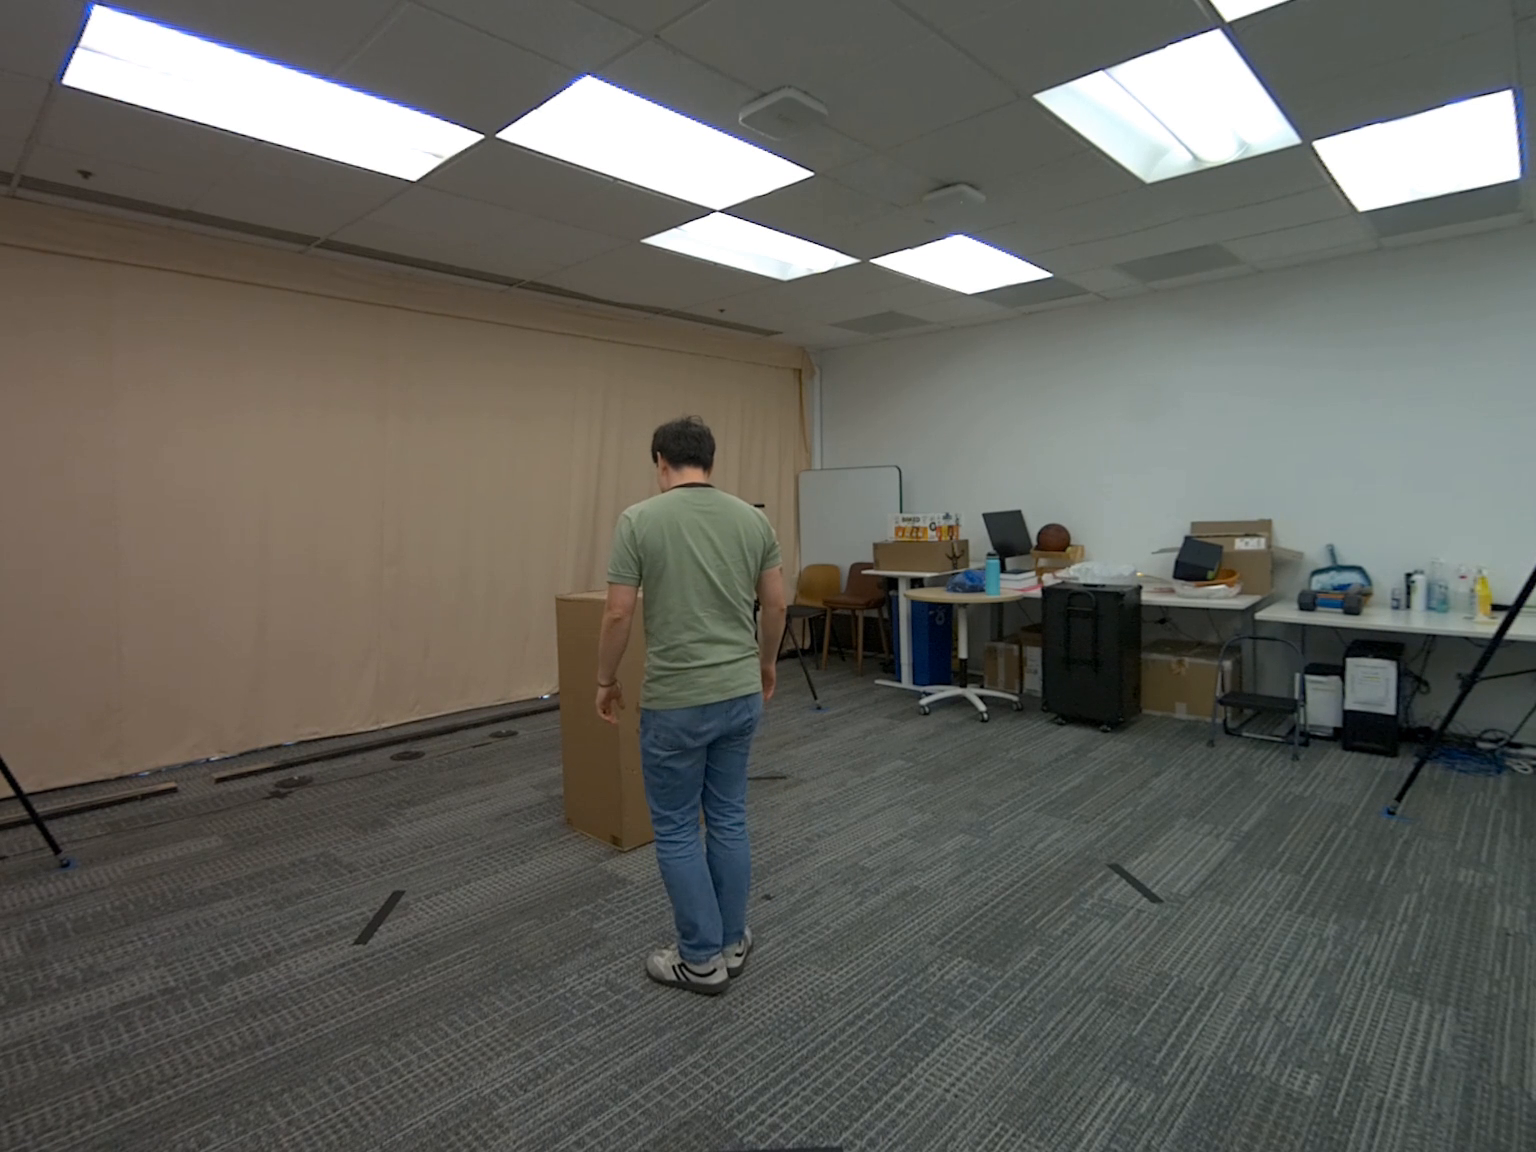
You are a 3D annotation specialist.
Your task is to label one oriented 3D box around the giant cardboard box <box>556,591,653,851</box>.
[{"bbox_3d":[-0.566,0.578,3.722,0.440,1.024,0.560,1,3,44],"label":"giant cardboard box"}]
